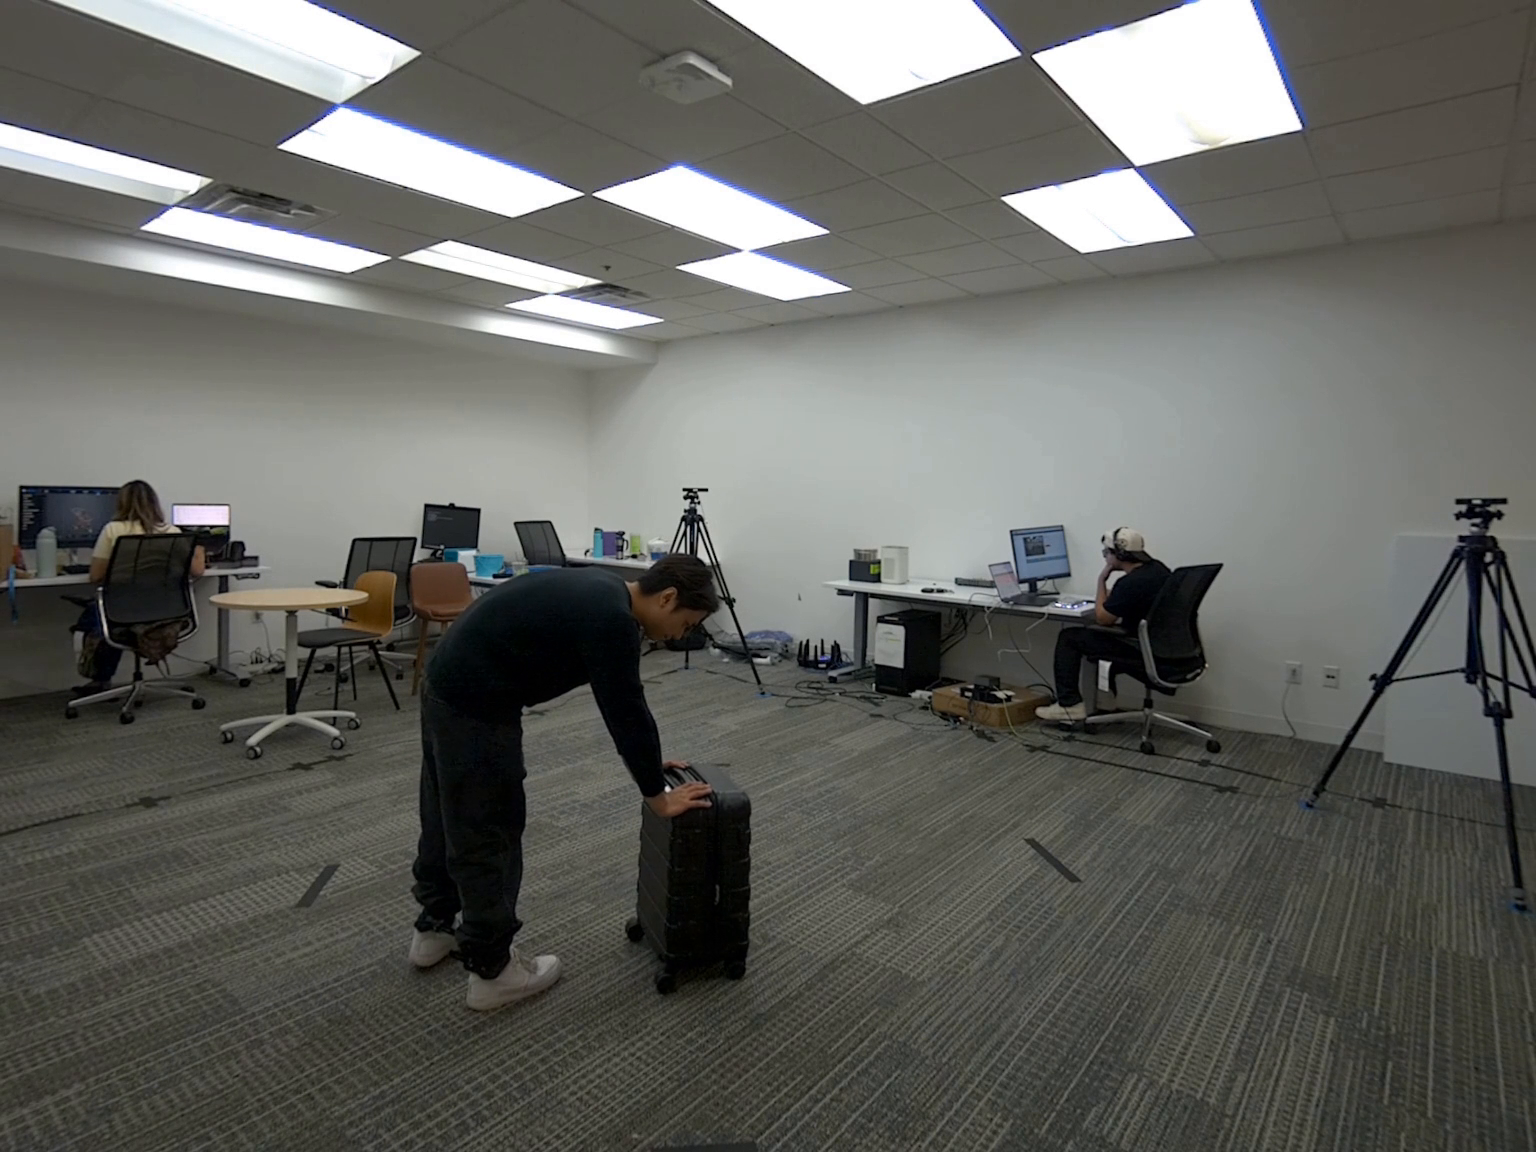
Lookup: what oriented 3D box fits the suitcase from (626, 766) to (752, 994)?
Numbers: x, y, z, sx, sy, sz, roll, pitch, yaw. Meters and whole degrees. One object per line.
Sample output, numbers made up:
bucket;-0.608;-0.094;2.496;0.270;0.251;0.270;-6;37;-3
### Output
suitcase;-0.232;0.853;2.521;0.242;0.548;0.385;1;3;-24
